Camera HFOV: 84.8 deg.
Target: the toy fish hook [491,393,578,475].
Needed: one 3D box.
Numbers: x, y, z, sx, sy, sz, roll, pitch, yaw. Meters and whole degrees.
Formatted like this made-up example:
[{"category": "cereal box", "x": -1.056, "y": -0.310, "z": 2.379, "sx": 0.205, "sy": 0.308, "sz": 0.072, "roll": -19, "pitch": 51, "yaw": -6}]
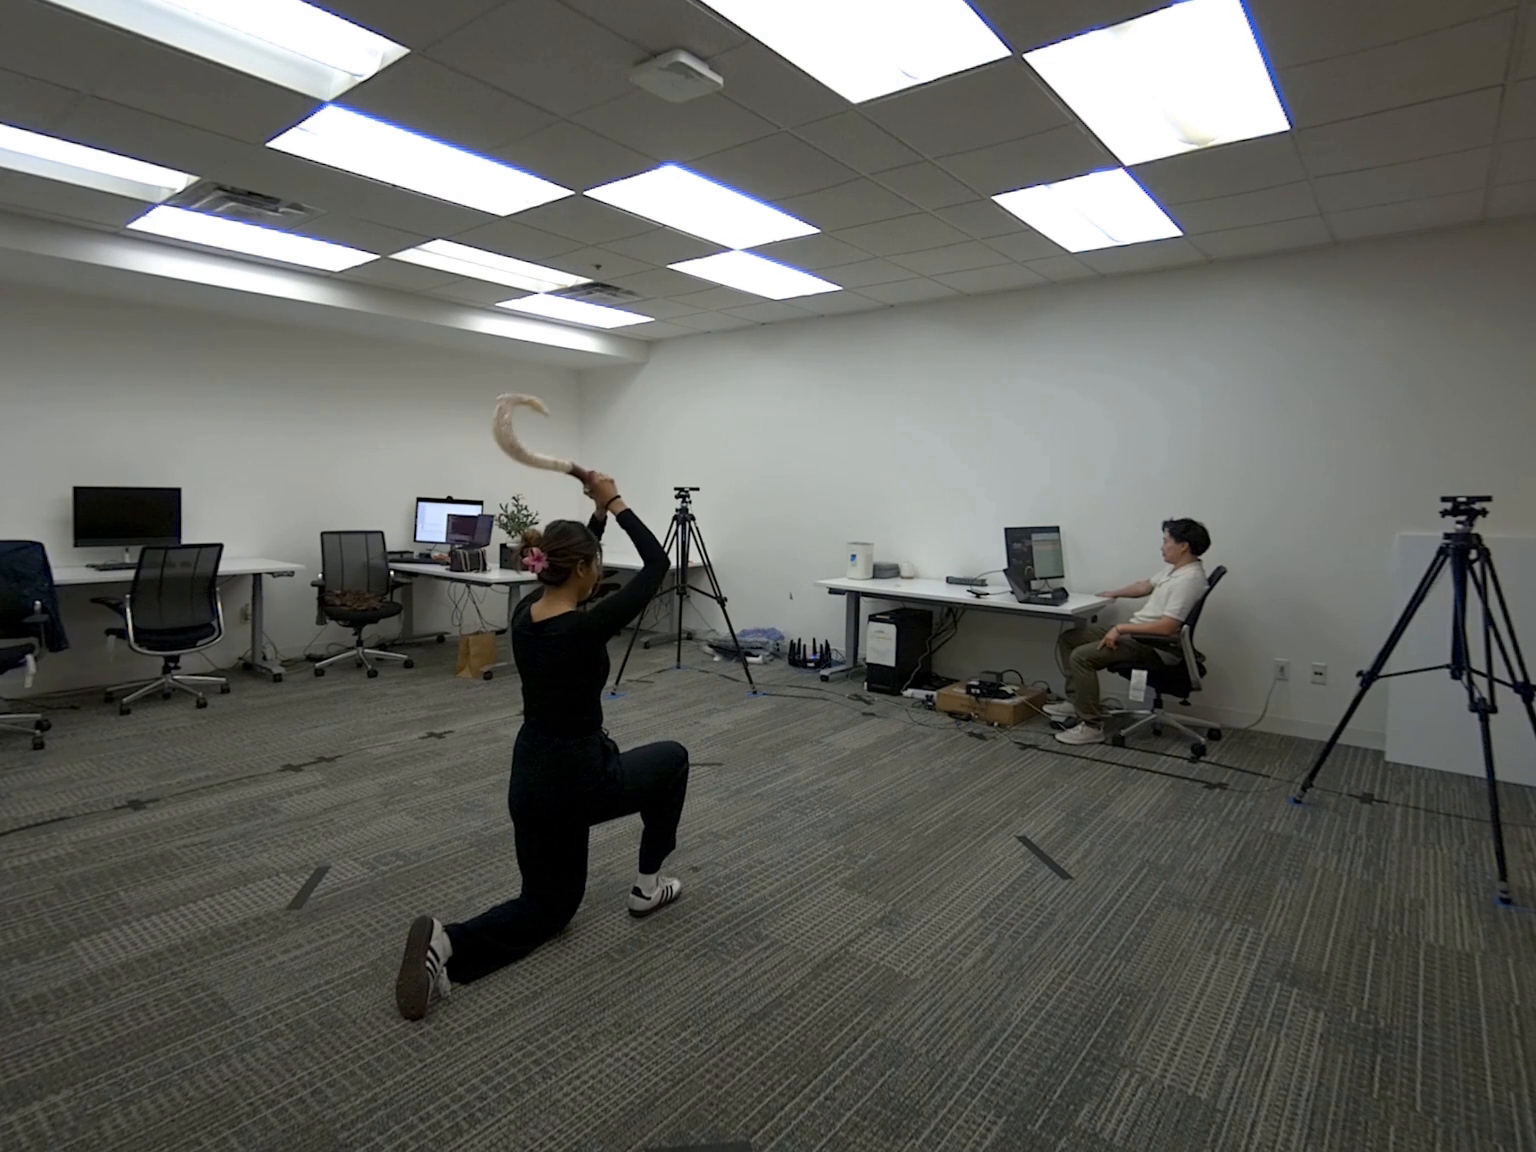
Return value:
[{"category": "toy fish hook", "x": -0.641, "y": -0.395, "z": 2.672, "sx": 0.049, "sy": 0.228, "sz": 0.486, "roll": -6, "pitch": -24, "yaw": 36}]
